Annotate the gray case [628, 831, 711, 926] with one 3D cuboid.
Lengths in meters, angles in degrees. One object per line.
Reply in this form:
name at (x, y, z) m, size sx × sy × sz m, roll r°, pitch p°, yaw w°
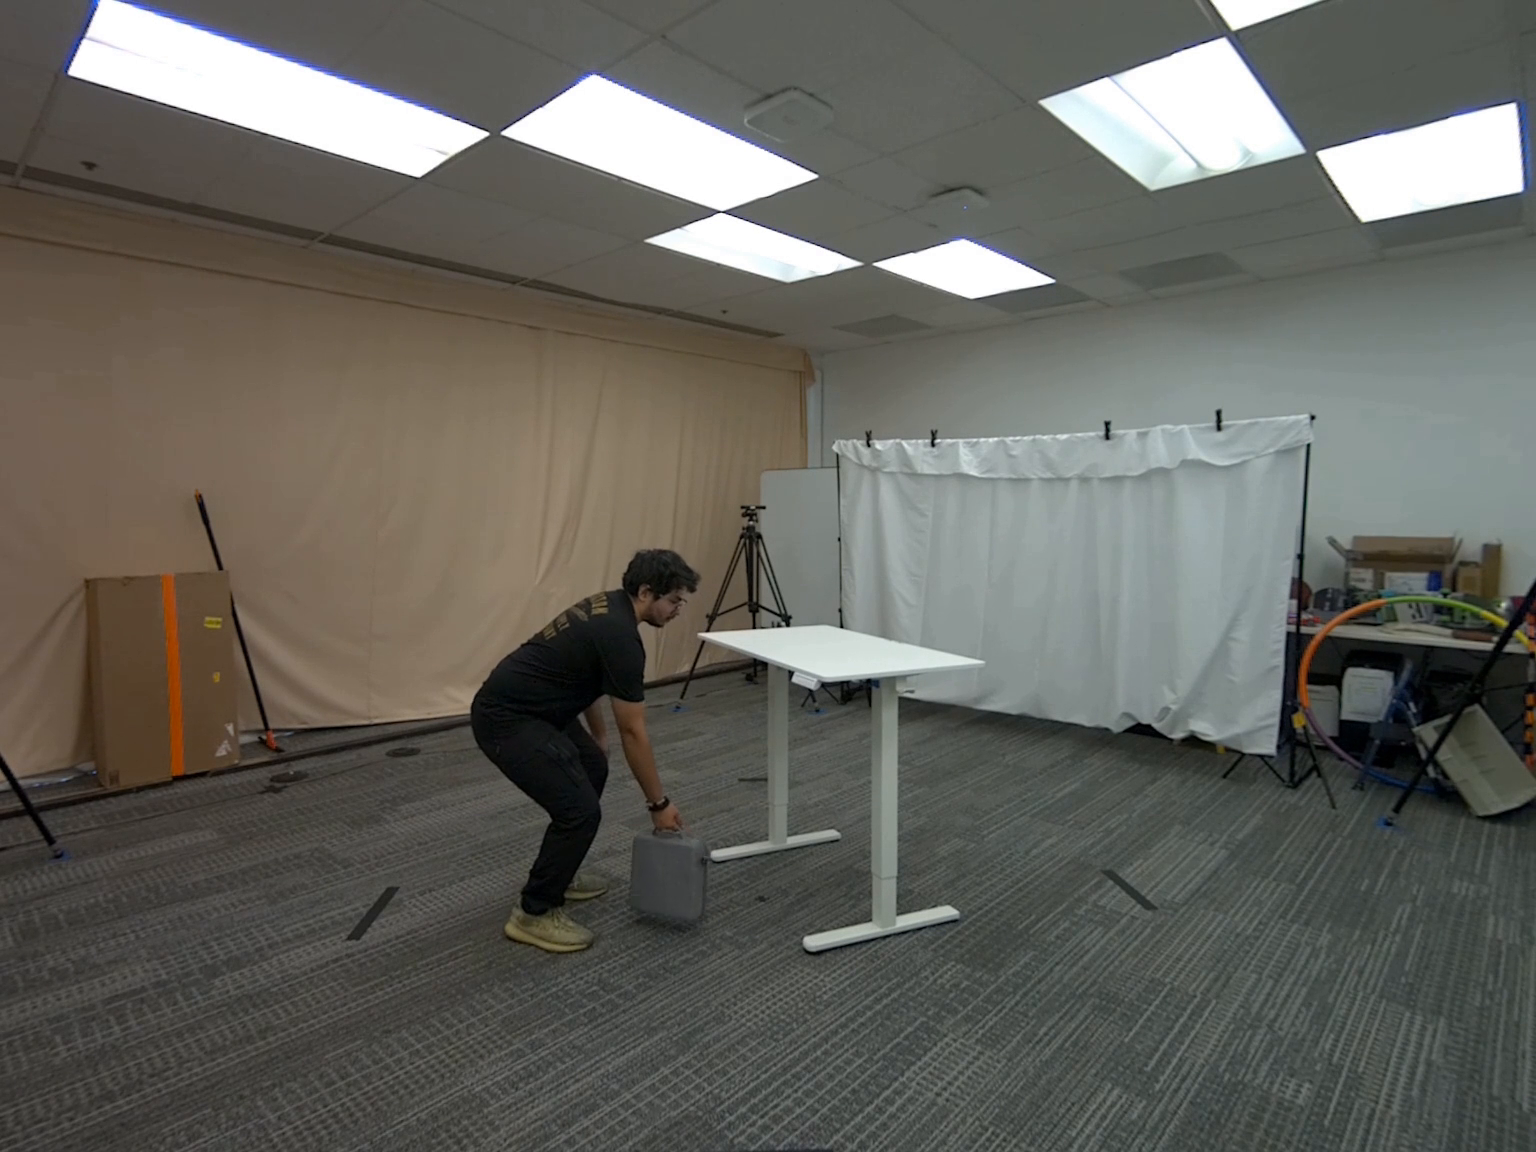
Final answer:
gray case at (-0.323, 0.981, 2.787) m, size 0.263 × 0.261 × 0.101 m, roll -1°, pitch -4°, yaw 25°
